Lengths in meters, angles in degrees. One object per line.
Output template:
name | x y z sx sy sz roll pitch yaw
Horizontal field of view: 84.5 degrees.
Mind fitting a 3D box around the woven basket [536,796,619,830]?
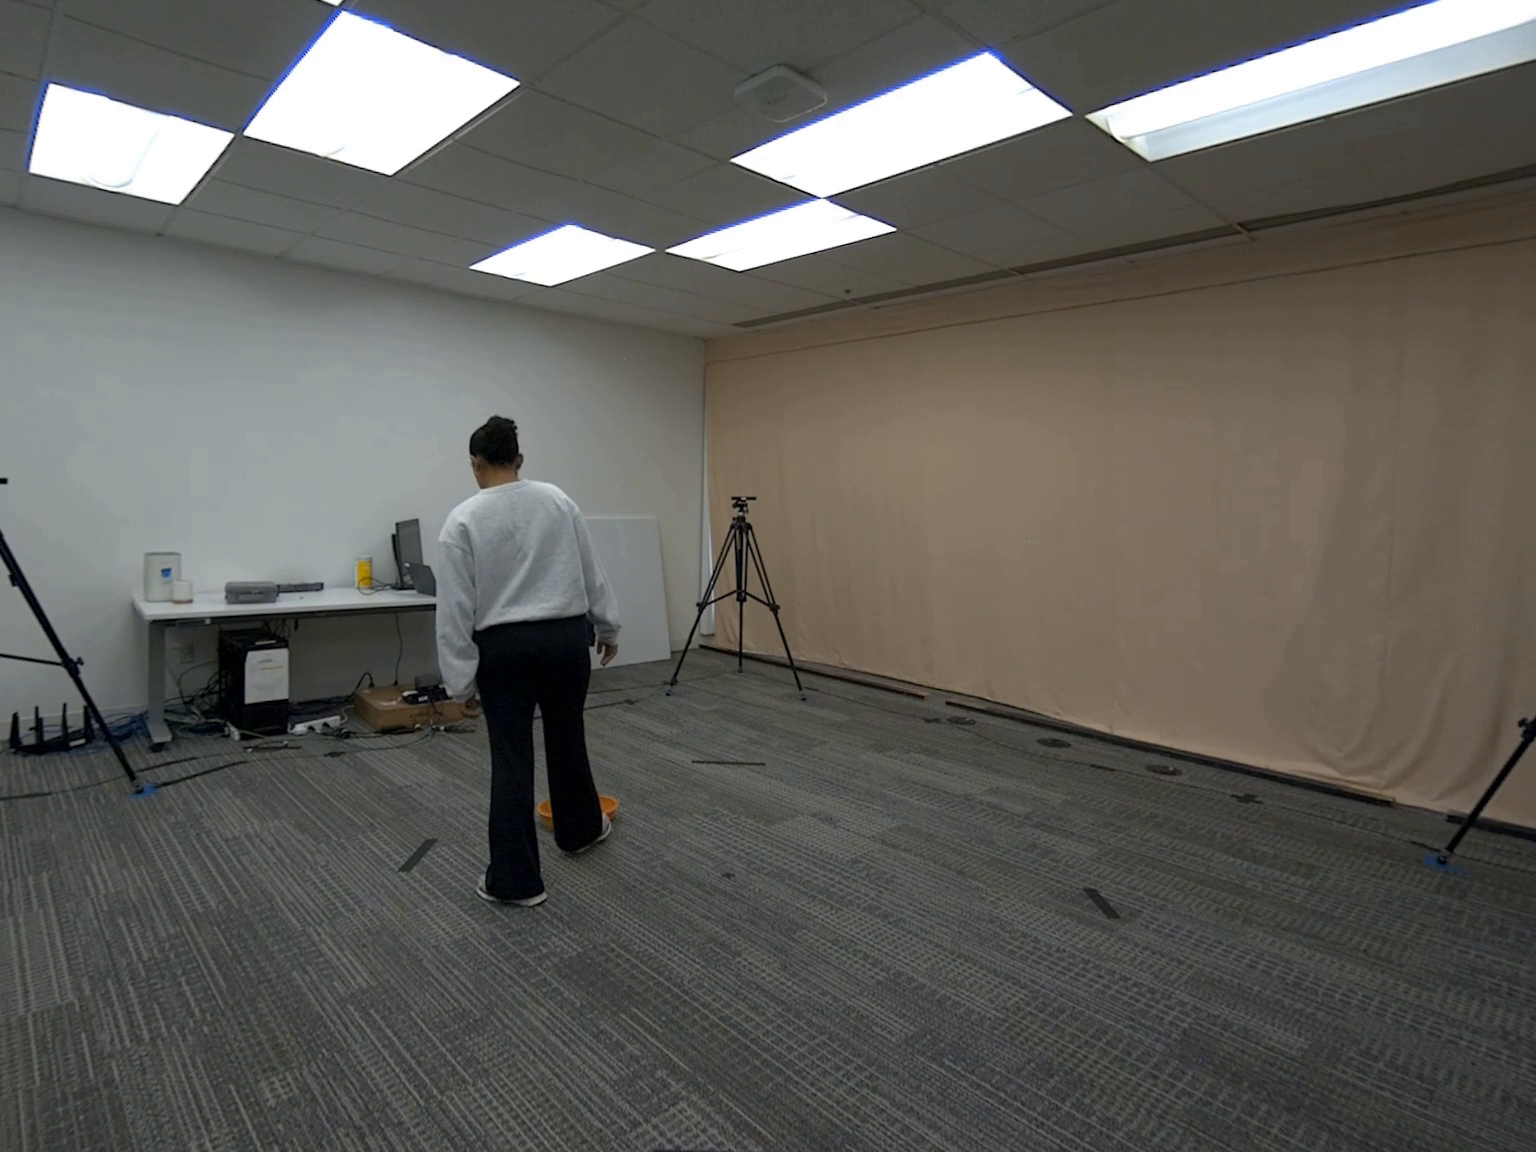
woven basket | -0.820 1.013 3.582 0.347 0.073 0.256 0 5 -13
